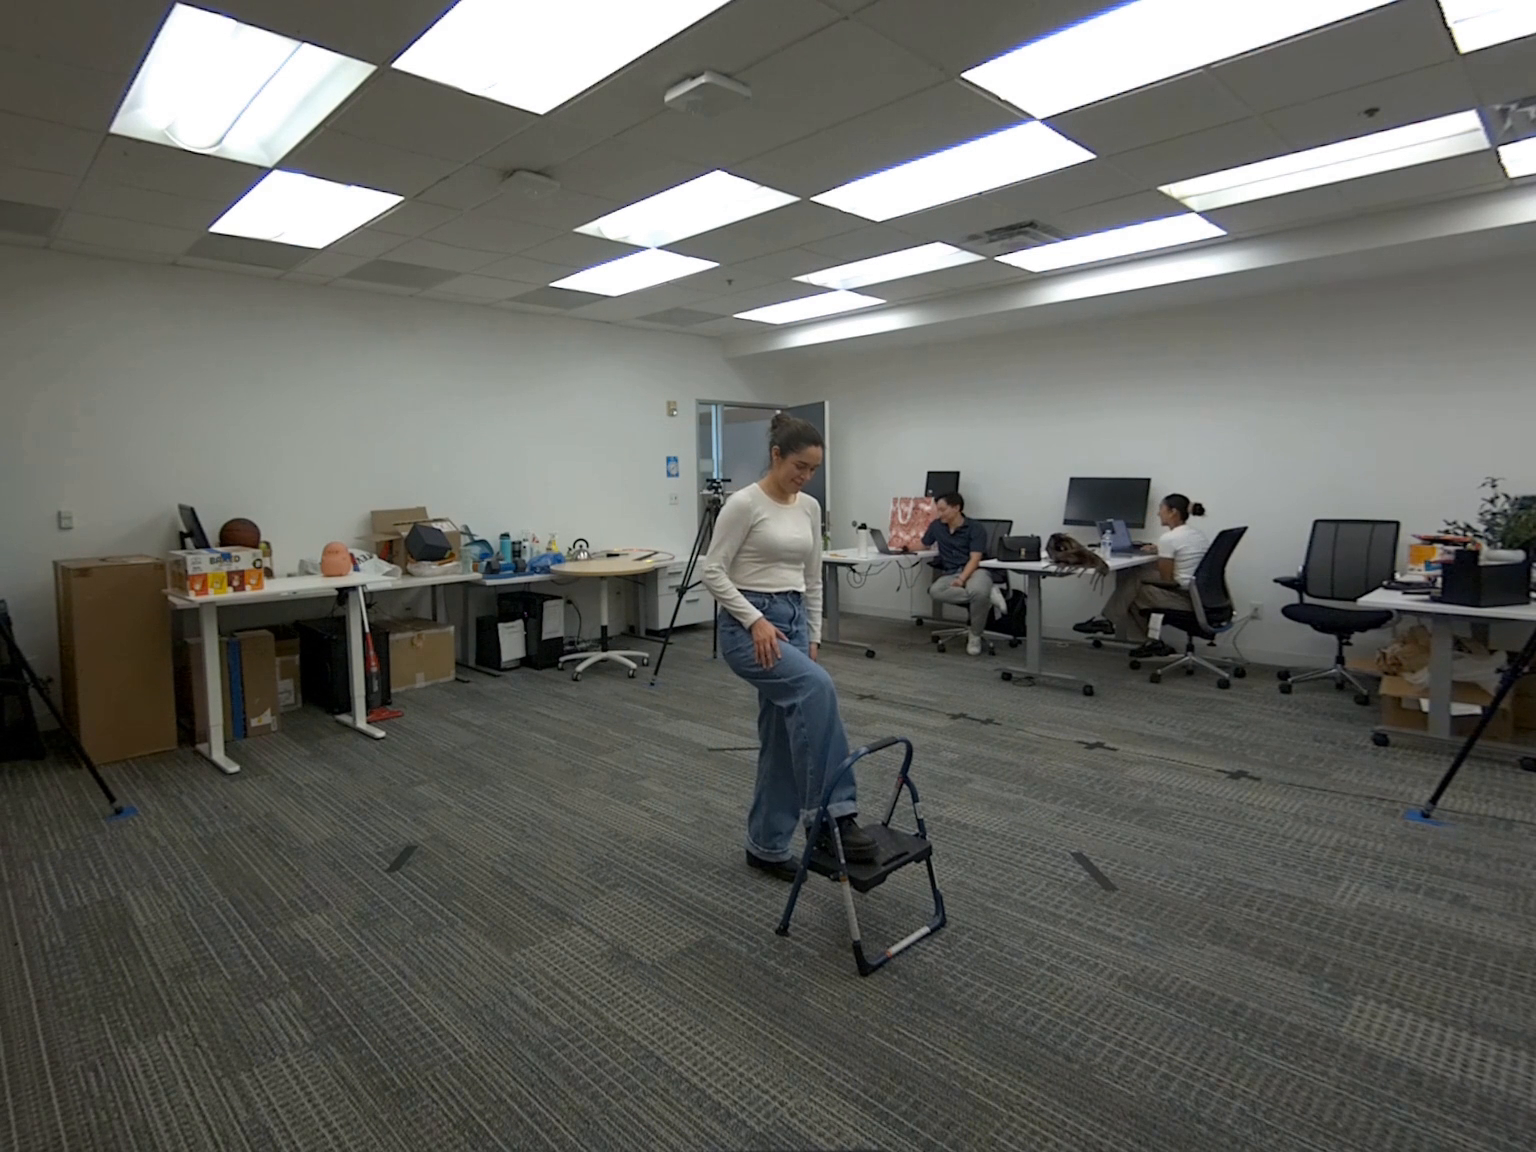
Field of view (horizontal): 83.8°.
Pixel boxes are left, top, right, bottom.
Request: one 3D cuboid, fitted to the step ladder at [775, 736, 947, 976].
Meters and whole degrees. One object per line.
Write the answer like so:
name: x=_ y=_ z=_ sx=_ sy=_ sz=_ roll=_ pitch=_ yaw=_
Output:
step ladder: x=0.291 y=0.793 z=2.625 sx=0.419 sy=0.603 sz=0.360 roll=-6 pitch=7 yaw=-45
